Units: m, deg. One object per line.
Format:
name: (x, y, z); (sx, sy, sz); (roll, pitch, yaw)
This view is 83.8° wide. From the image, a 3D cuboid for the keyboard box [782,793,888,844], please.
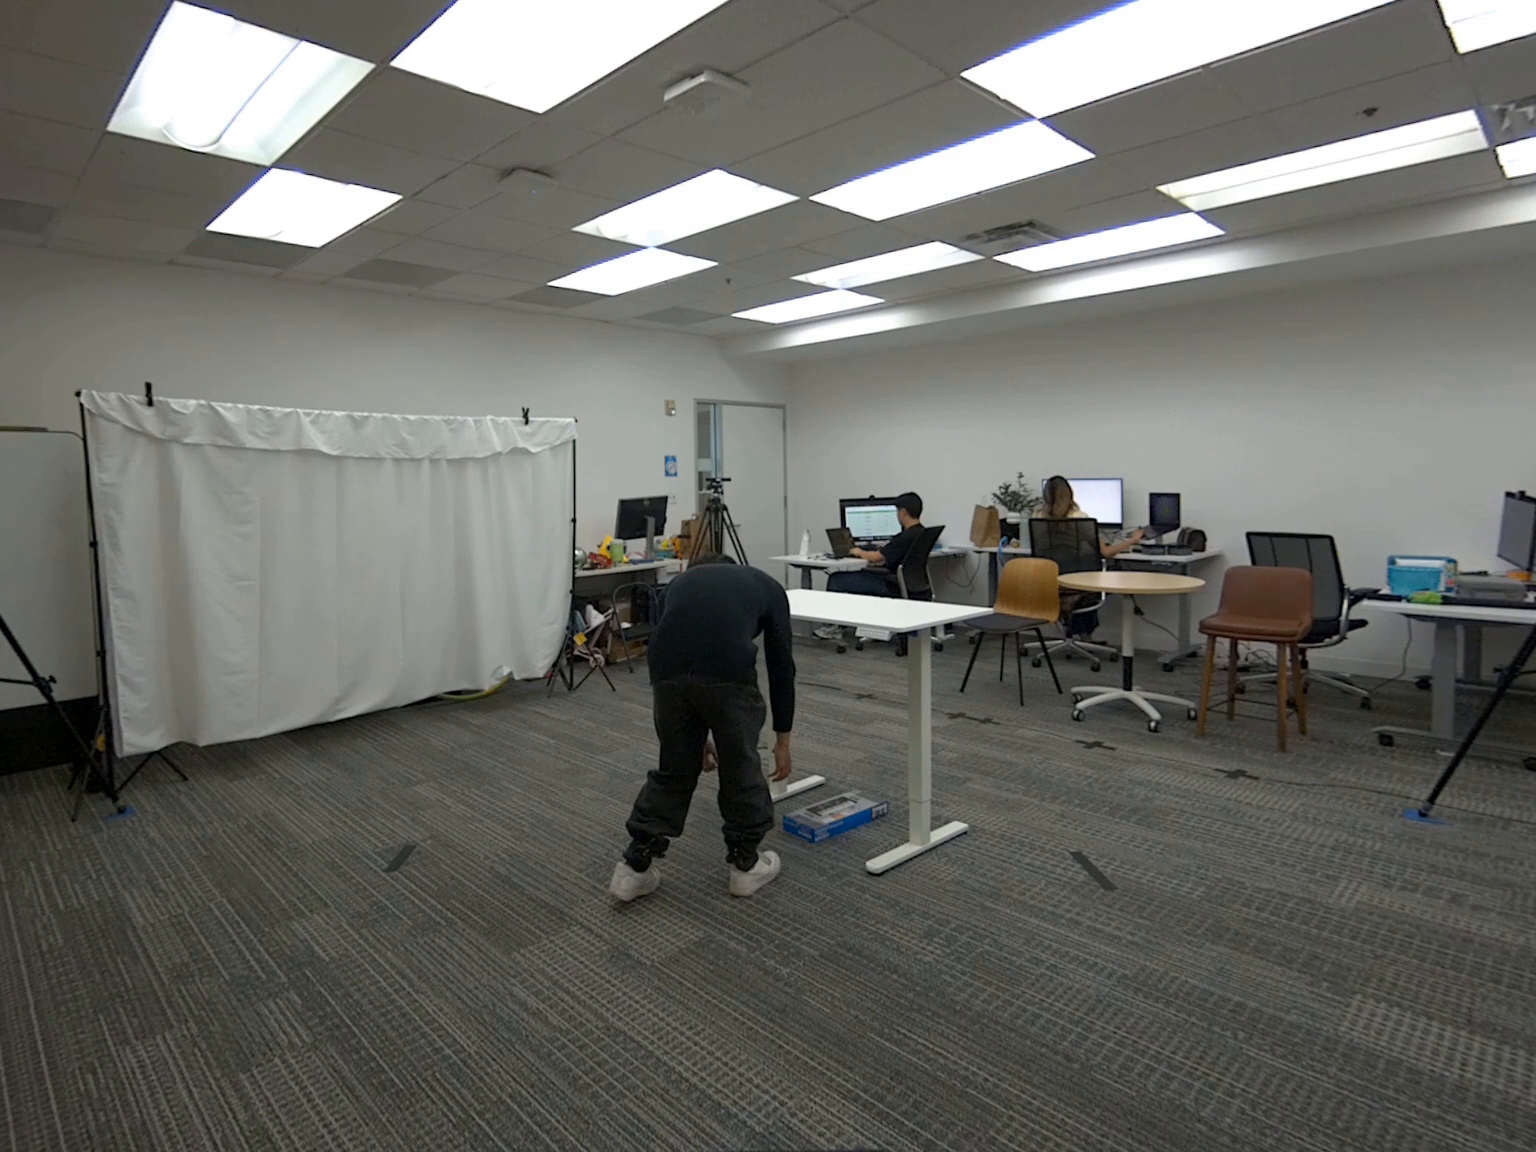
keyboard box: (0.281, 0.967, 3.458); (0.425, 0.059, 0.181); (-7, 9, -40)
